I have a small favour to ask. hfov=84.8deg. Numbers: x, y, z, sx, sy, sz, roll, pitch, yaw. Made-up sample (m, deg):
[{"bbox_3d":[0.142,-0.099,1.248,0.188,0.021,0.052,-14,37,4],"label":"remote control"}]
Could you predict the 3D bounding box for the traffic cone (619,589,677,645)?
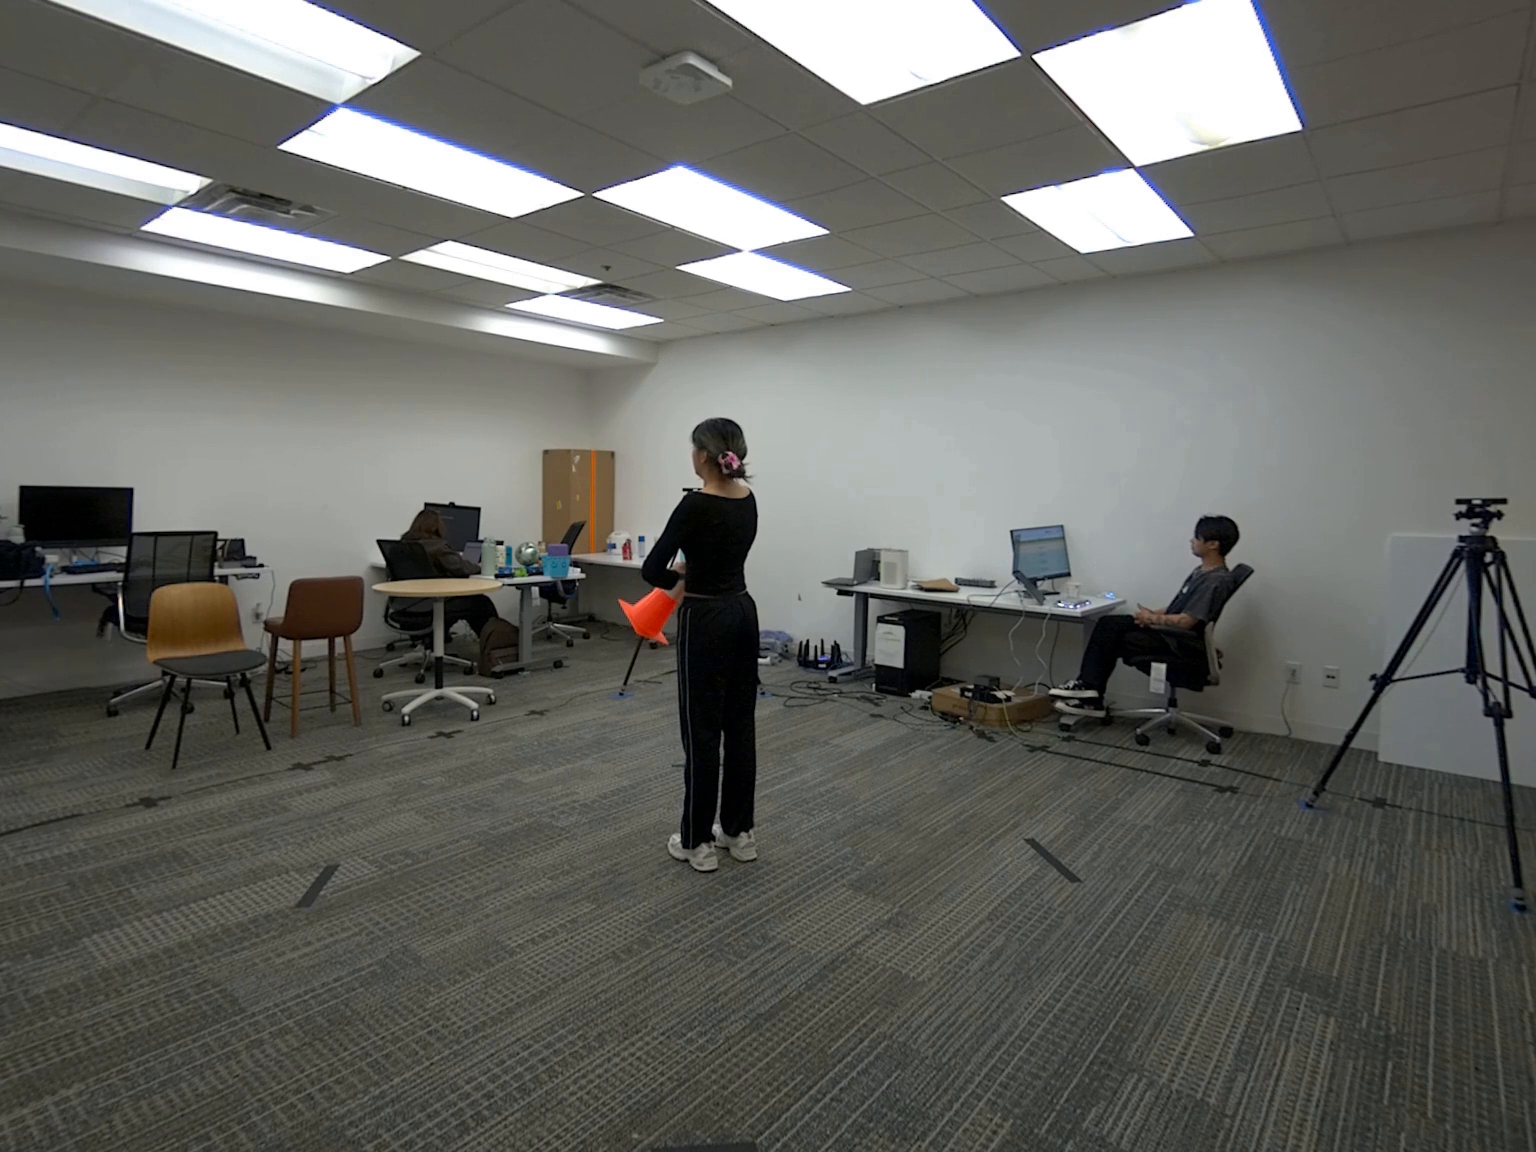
[{"bbox_3d":[-0.380,0.054,3.371,0.196,0.384,0.212,34,14,-44],"label":"traffic cone"}]
